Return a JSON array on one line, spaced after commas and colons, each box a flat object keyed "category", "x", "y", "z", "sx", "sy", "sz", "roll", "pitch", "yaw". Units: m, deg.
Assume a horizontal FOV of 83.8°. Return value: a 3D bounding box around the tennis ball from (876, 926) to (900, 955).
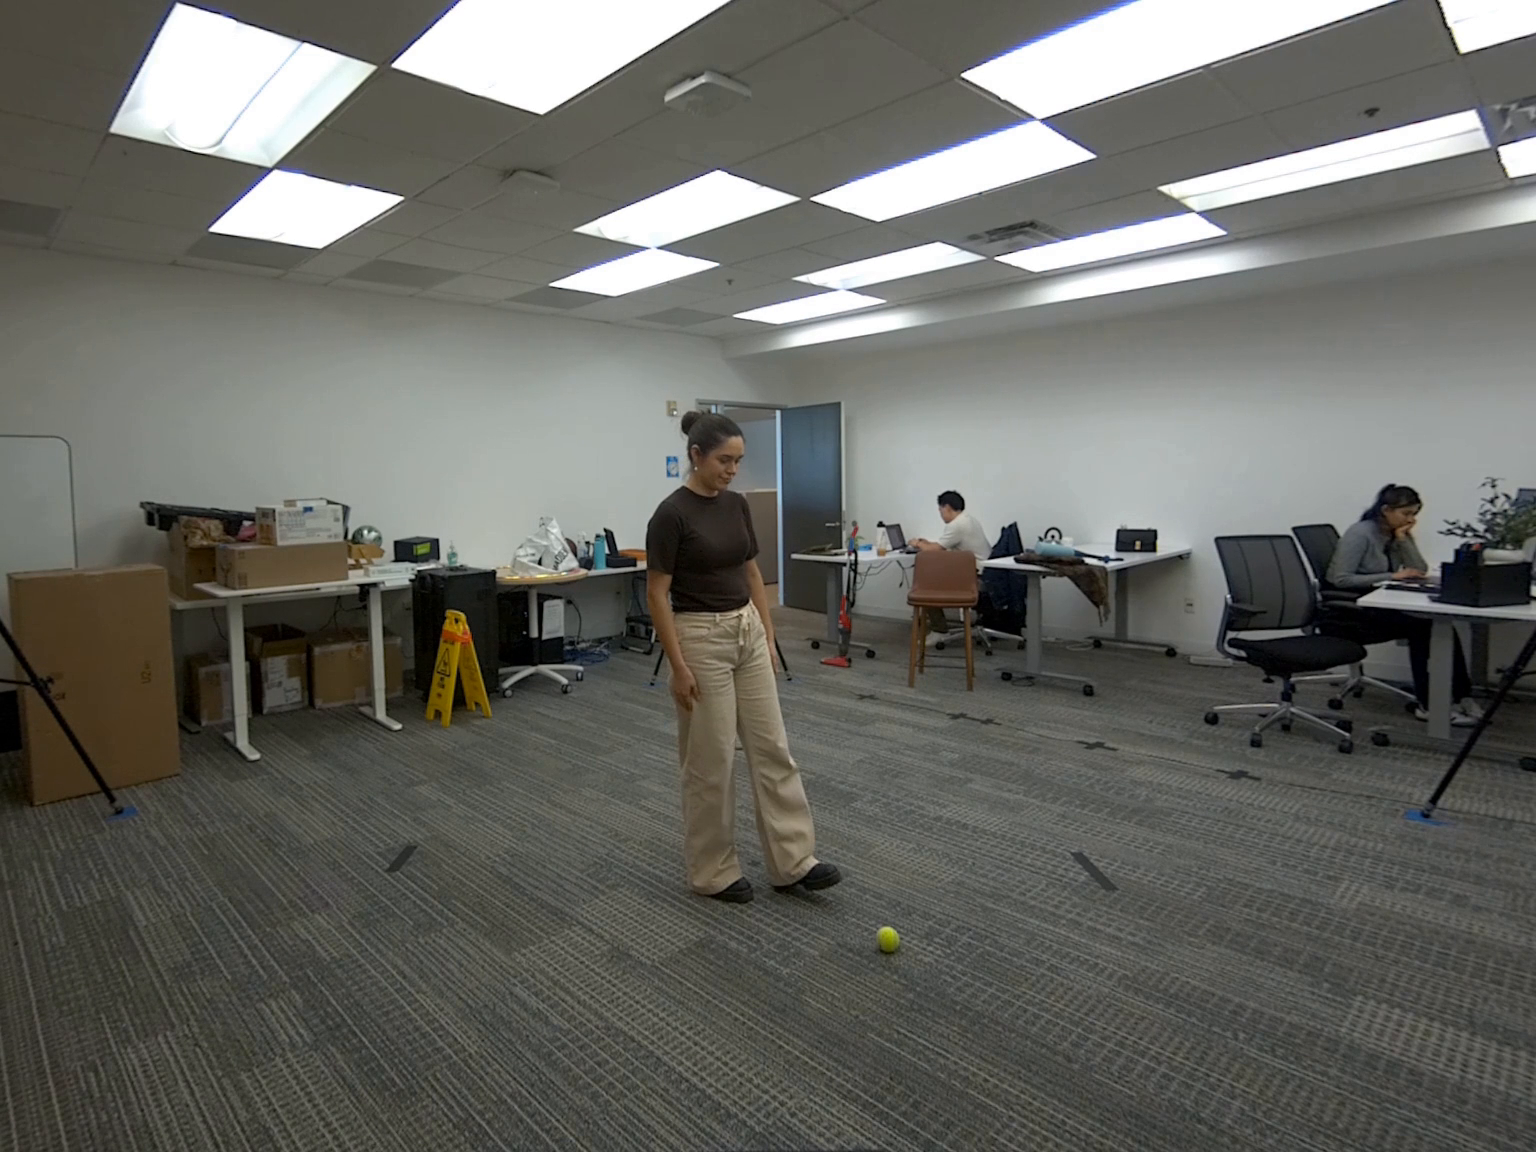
[{"category": "tennis ball", "x": 0.357, "y": 1.055, "z": 2.513, "sx": 0.066, "sy": 0.066, "sz": 0.067, "roll": -1, "pitch": 5, "yaw": -2}]
